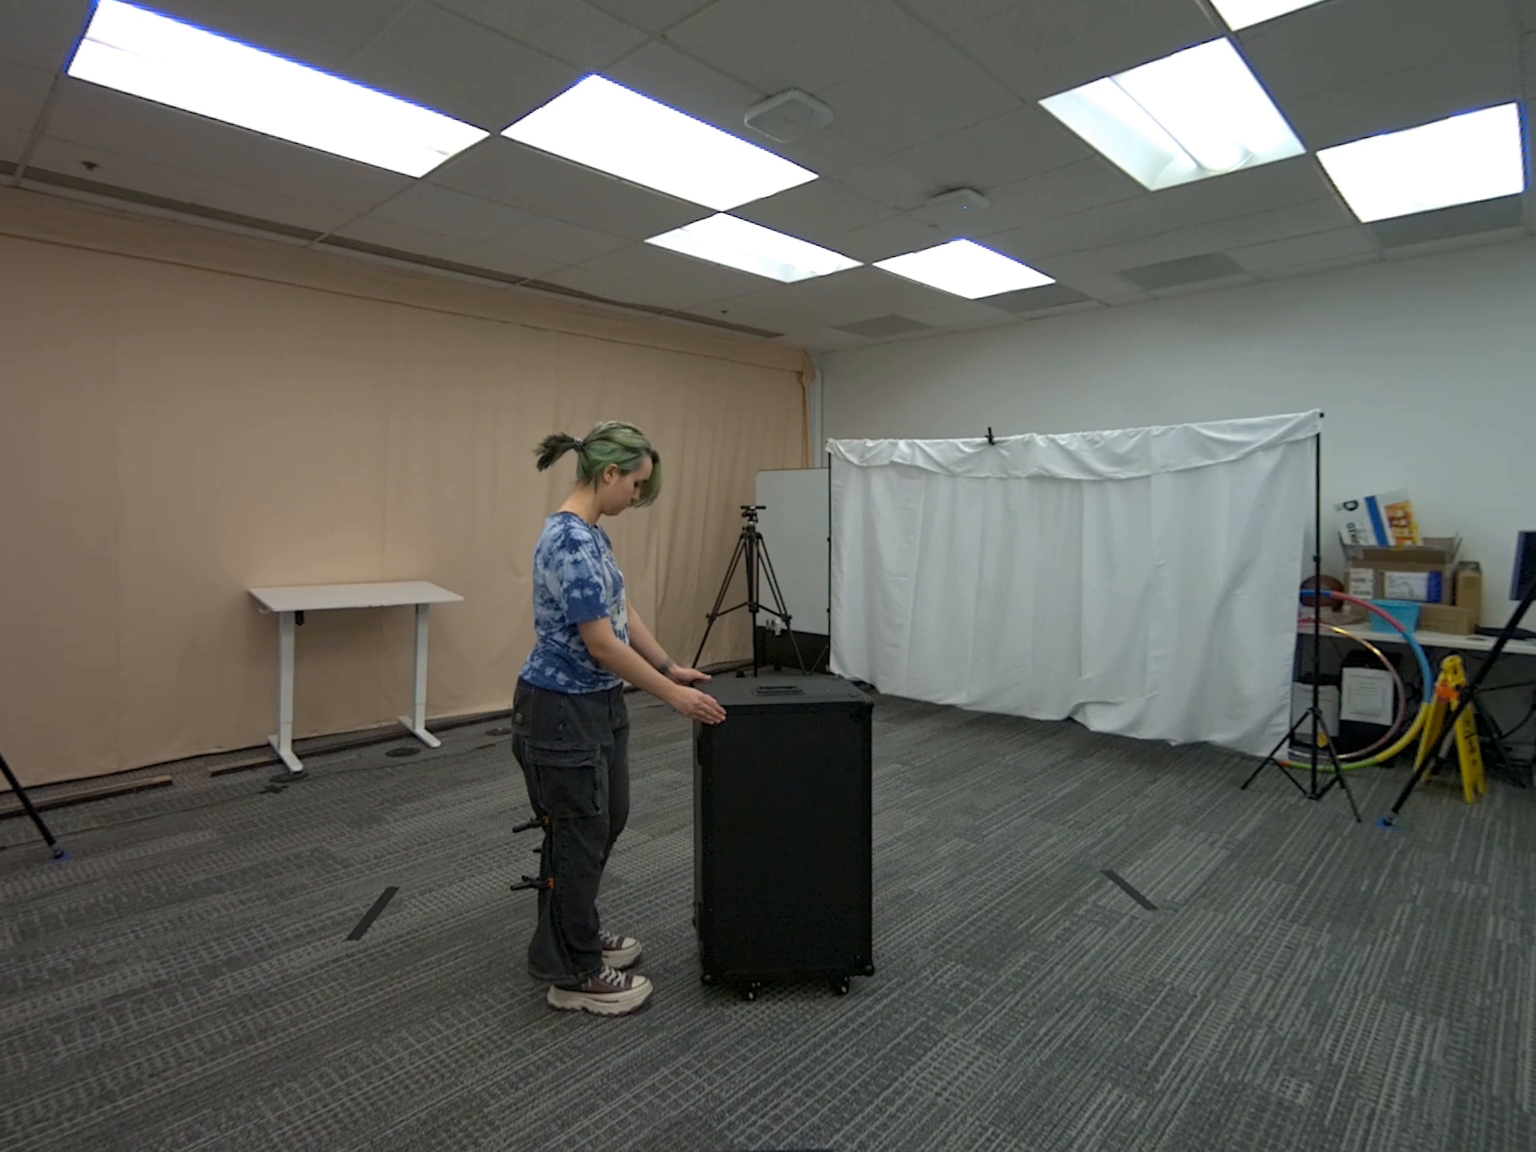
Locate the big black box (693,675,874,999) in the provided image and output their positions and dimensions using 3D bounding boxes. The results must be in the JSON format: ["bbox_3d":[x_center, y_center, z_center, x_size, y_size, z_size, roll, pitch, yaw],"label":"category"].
[{"bbox_3d":[0.029,0.767,2.509,0.518,0.860,0.399,-1,2,-7],"label":"big black box"}]
